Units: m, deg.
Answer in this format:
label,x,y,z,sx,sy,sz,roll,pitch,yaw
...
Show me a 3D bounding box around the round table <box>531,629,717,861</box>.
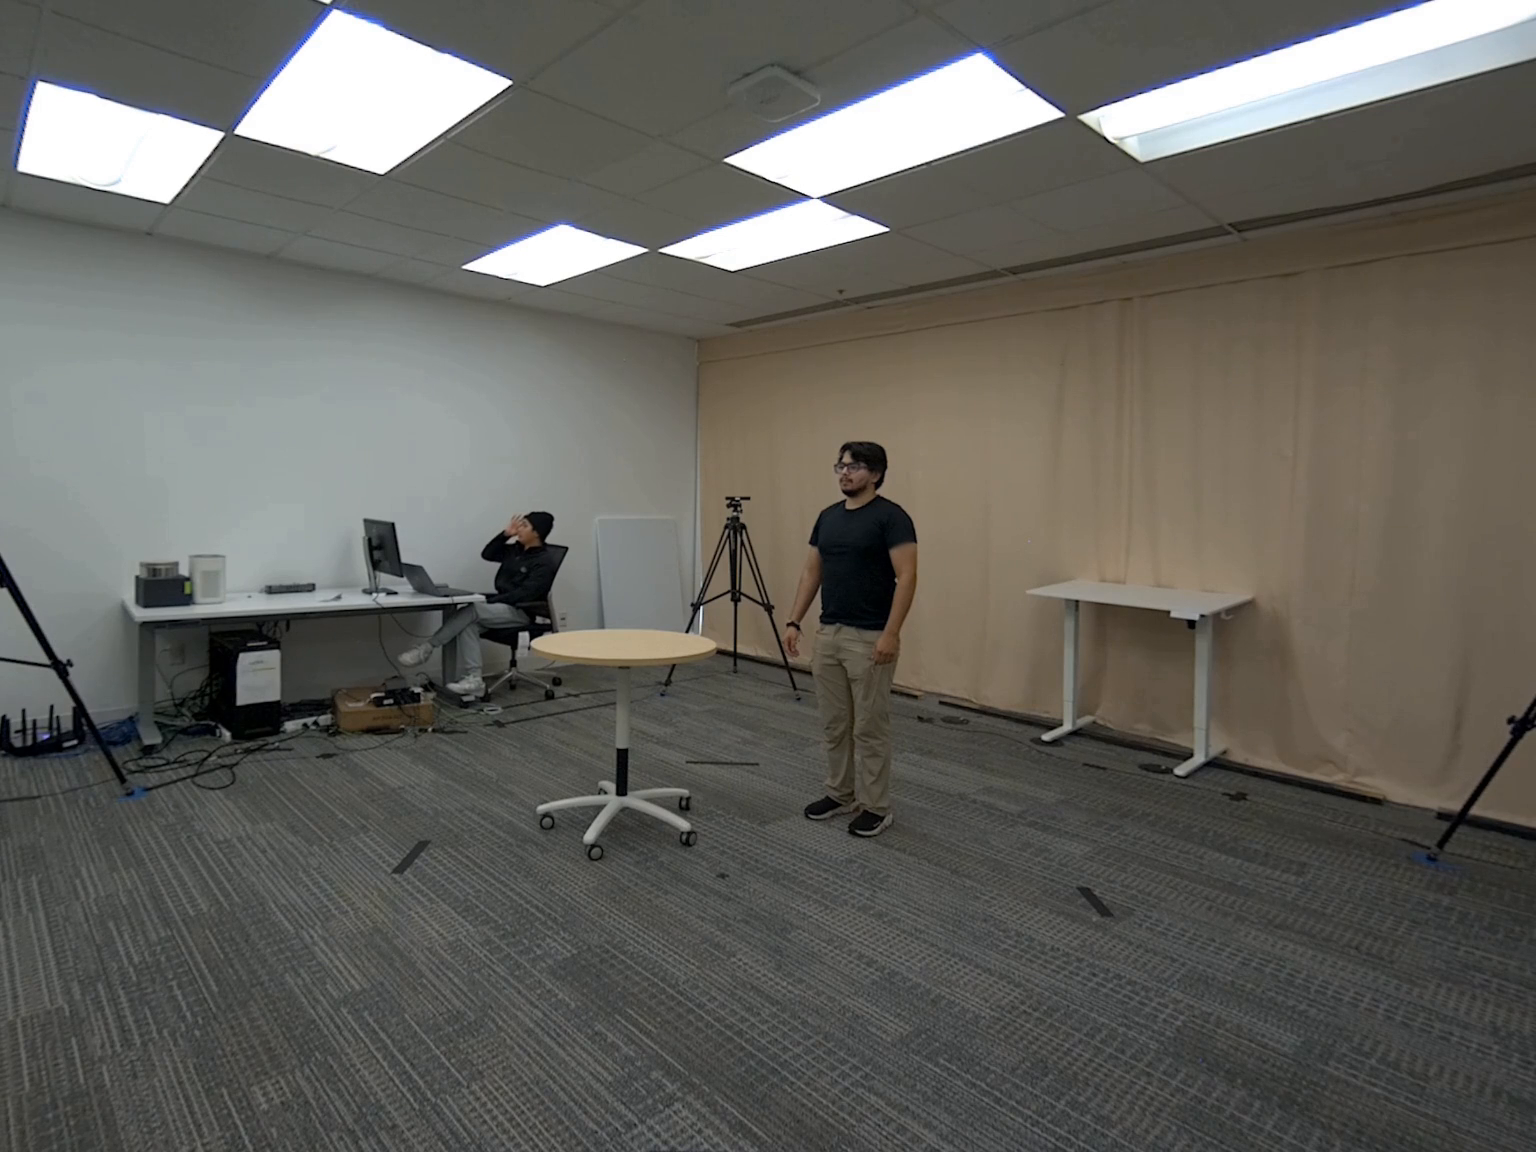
label,x,y,z,sx,sy,sz,roll,pitch,yaw
round table,-0.617,0.668,3.507,0.784,0.785,0.787,1,3,-1
